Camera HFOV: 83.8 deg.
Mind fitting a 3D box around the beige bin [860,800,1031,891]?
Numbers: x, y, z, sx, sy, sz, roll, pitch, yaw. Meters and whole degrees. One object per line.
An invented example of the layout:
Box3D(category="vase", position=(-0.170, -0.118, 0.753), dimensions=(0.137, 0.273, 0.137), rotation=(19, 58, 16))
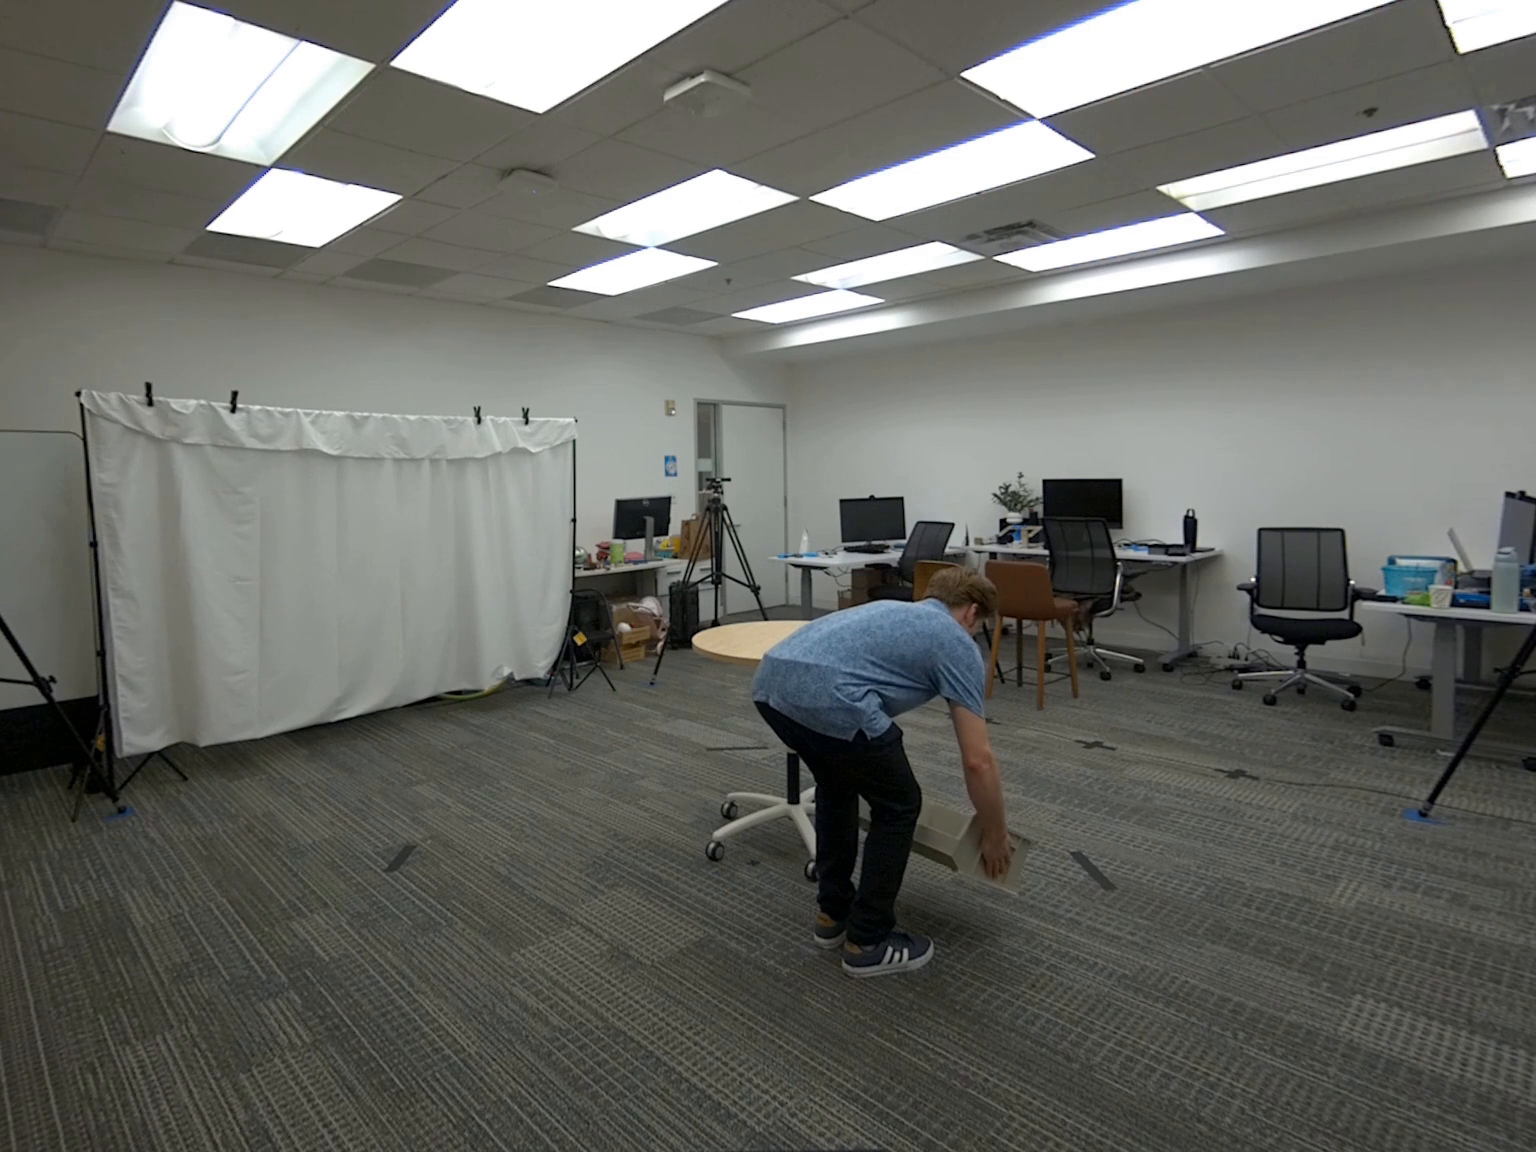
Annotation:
Box3D(category="beige bin", position=(0.553, 0.807, 2.687), dimensions=(0.364, 0.190, 0.435), rotation=(33, -16, -34))
